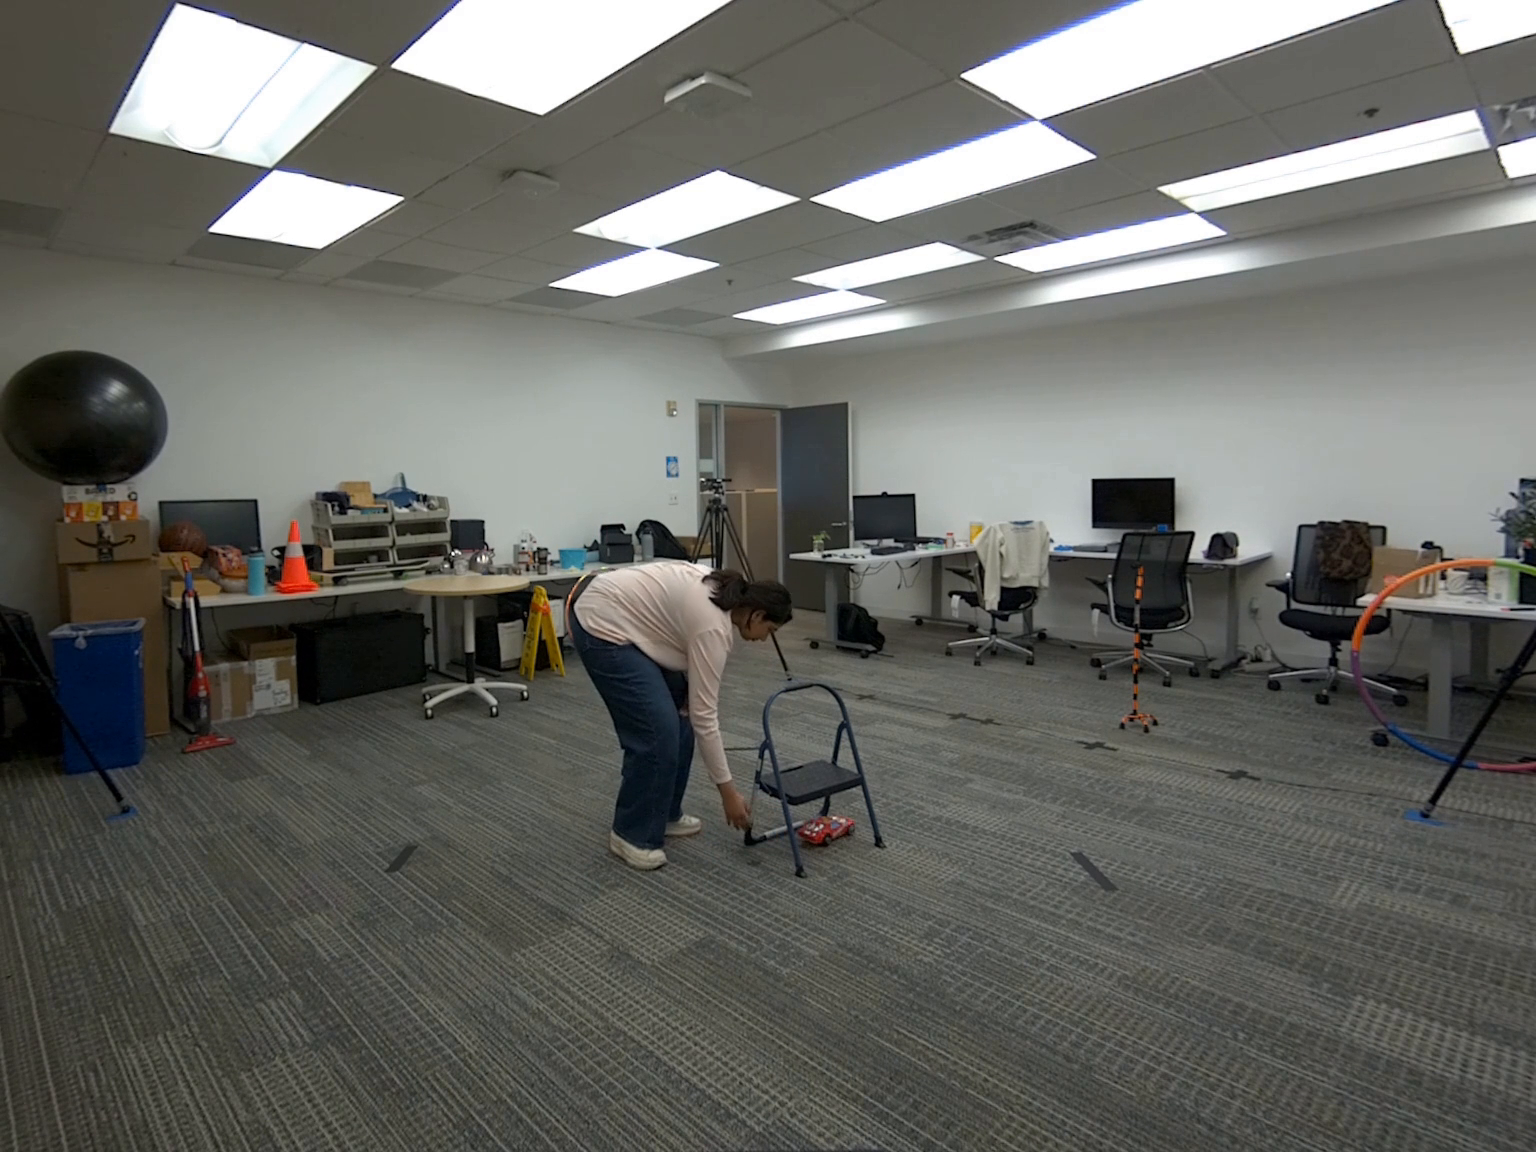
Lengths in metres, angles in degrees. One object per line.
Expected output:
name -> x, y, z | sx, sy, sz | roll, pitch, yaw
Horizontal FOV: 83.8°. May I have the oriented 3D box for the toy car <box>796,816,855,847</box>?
toy car -> 0.222, 0.978, 3.309 | 0.246, 0.083, 0.134 | 8, -2, -43
